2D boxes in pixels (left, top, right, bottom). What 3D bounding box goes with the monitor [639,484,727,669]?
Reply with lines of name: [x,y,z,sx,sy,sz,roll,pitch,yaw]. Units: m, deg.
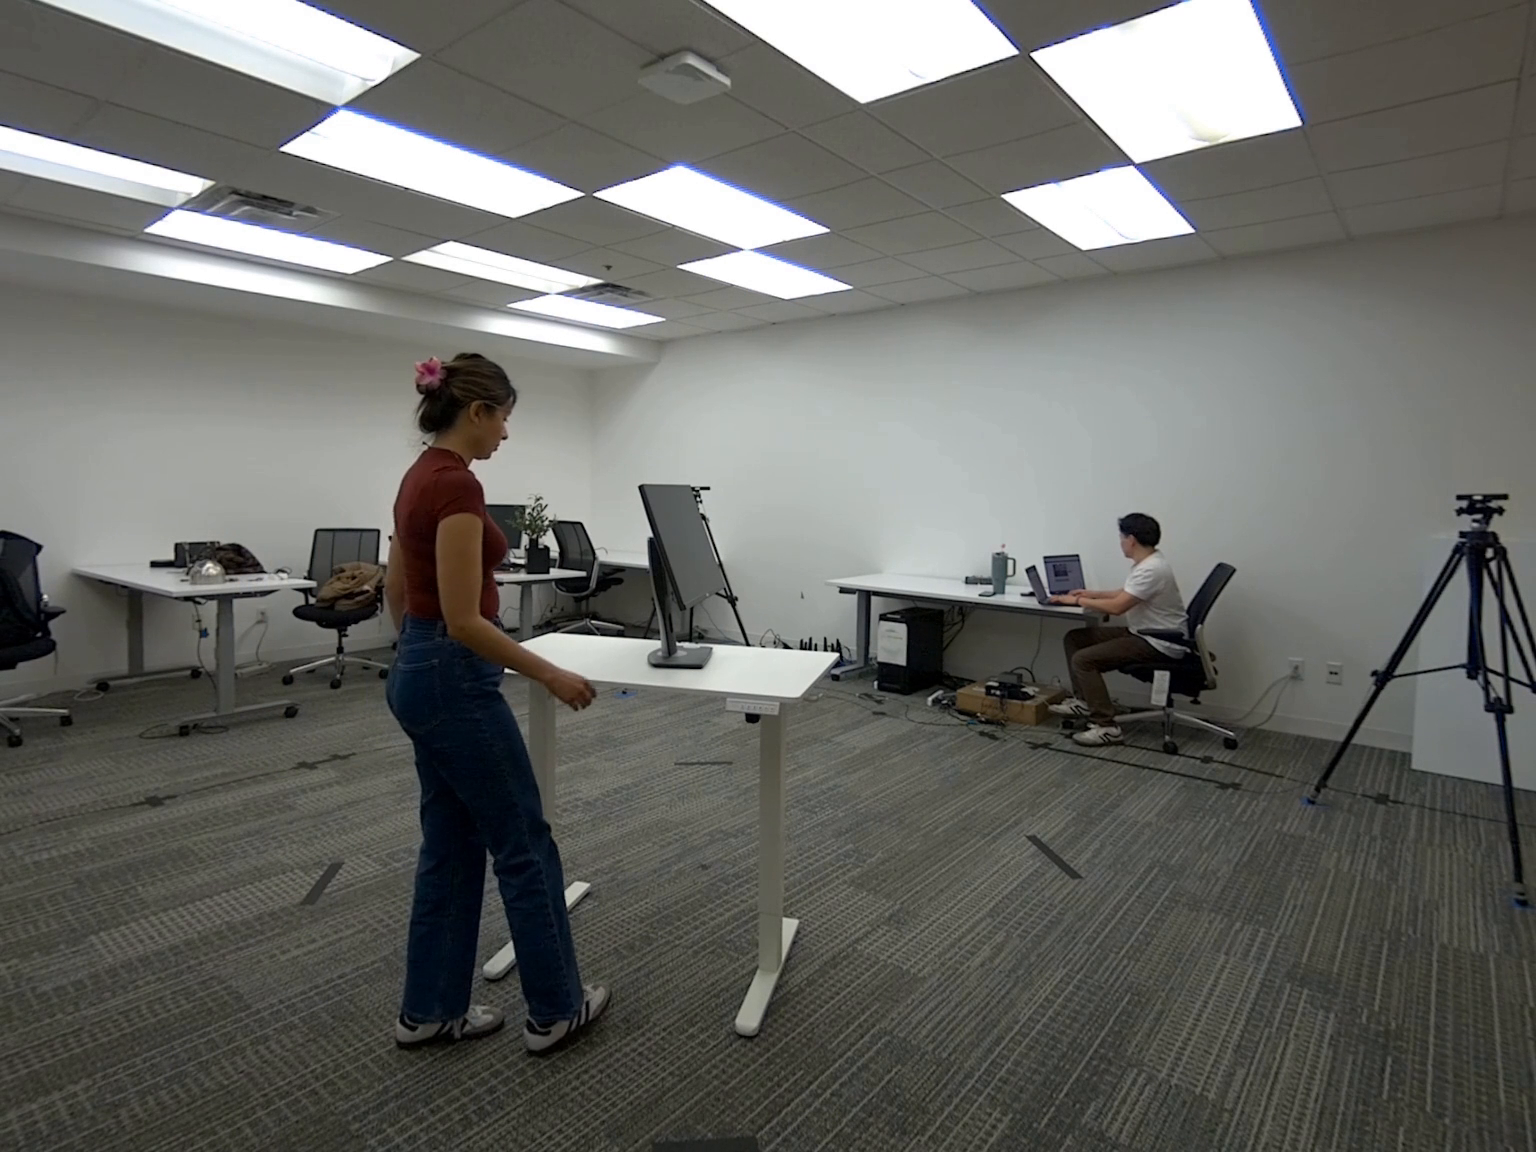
monitor: [-0.278,-0.010,2.504,0.189,0.521,0.536,-3,4,6]
